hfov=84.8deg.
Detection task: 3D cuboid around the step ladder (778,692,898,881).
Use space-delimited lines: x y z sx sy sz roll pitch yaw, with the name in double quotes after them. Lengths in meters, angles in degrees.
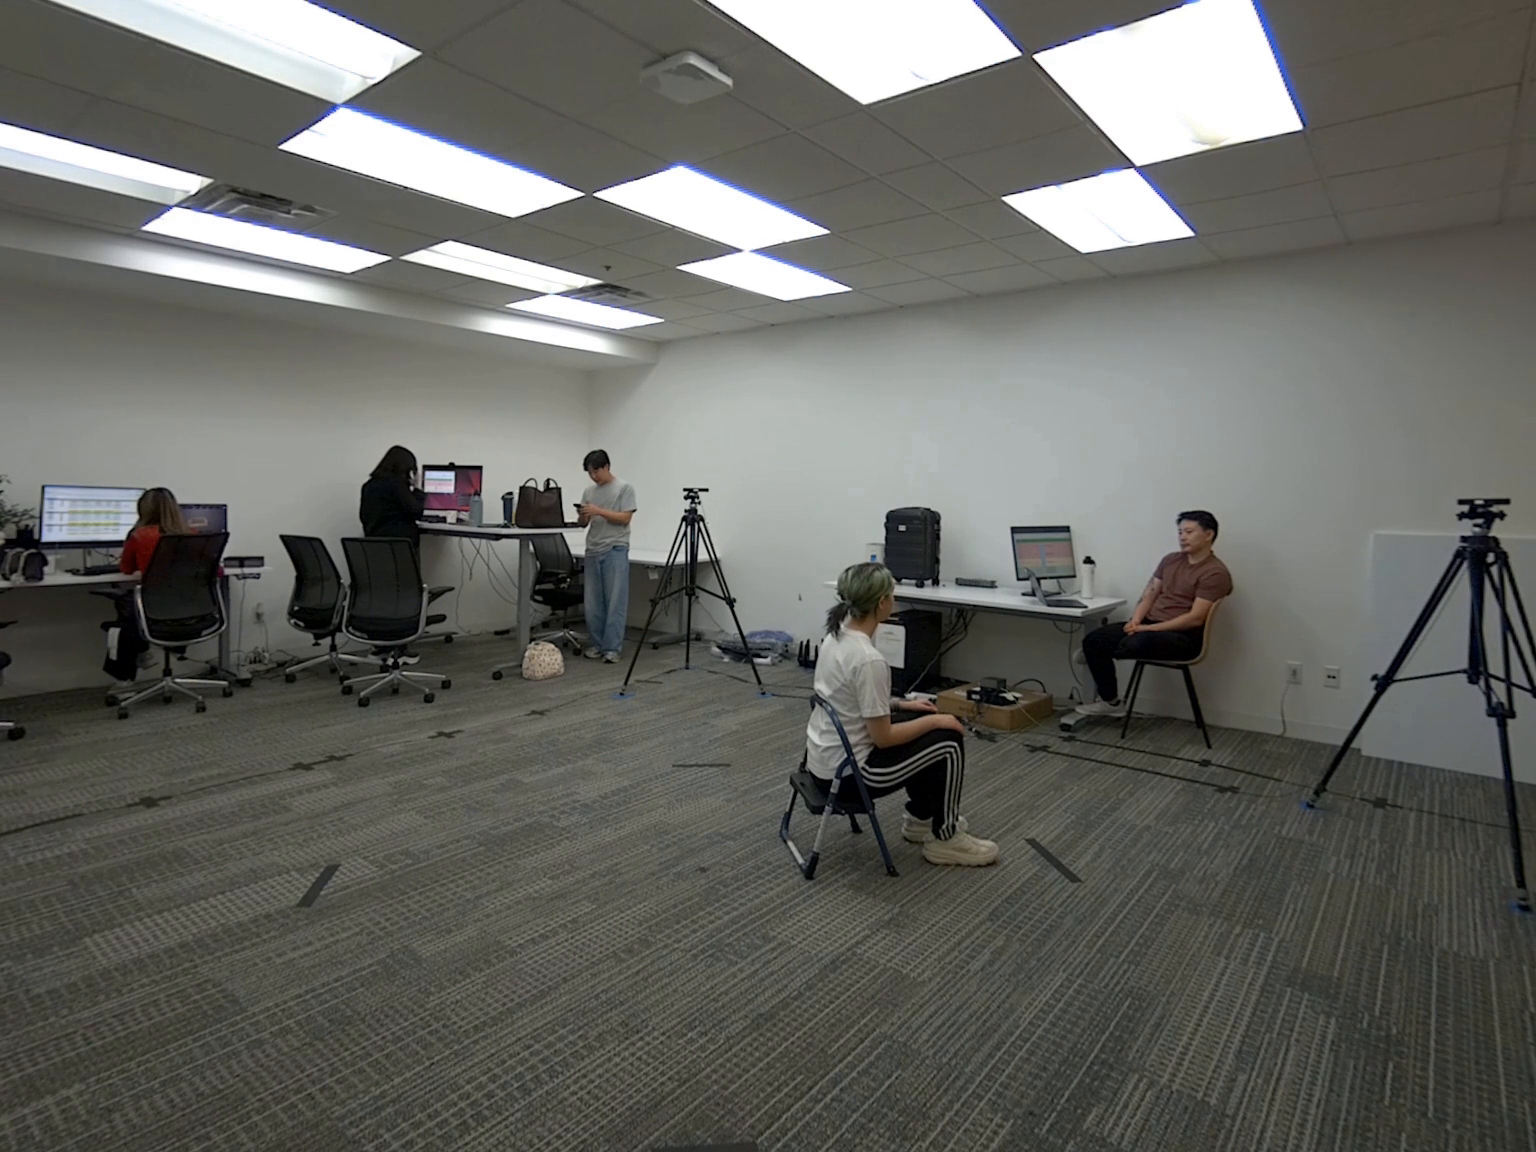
0.258 0.769 3.256 0.345 0.604 0.438 2 4 -13 "step ladder"
